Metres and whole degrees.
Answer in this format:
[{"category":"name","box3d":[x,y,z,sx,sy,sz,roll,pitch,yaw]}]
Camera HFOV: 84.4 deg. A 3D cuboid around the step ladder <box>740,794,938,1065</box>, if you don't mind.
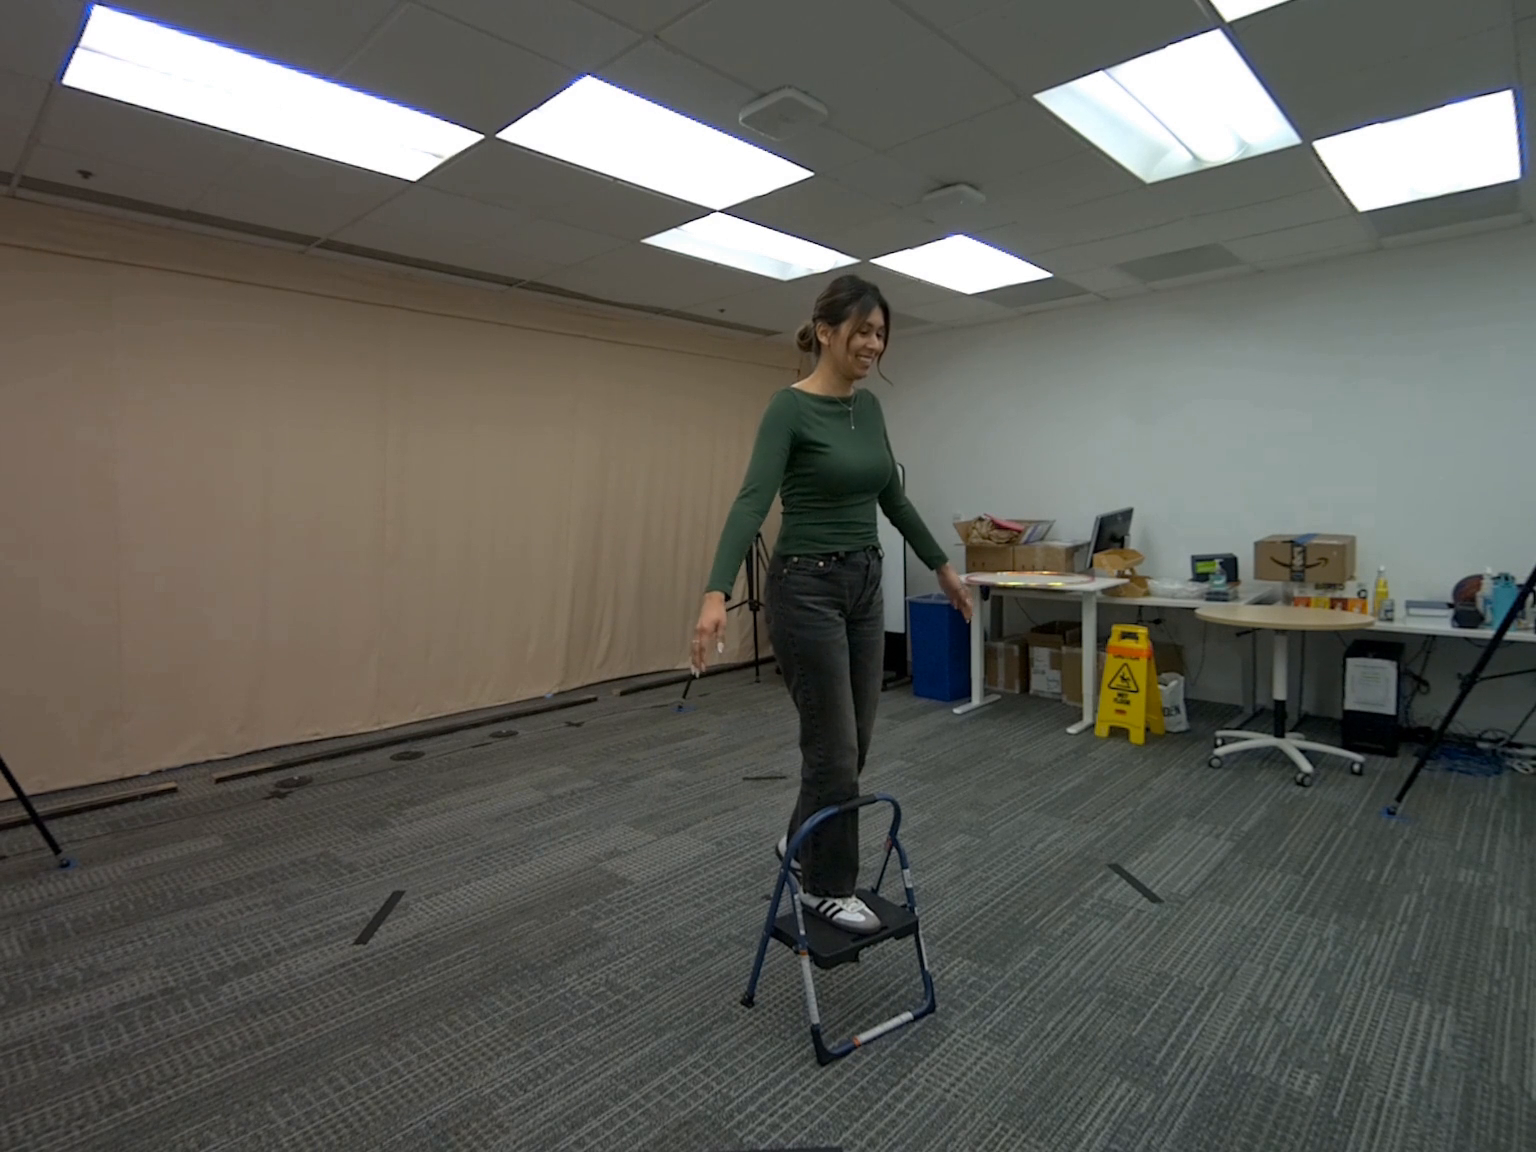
[{"category":"step ladder","box3d":[0.197,0.891,2.317,0.418,0.605,0.360,-3,4,-36]}]
